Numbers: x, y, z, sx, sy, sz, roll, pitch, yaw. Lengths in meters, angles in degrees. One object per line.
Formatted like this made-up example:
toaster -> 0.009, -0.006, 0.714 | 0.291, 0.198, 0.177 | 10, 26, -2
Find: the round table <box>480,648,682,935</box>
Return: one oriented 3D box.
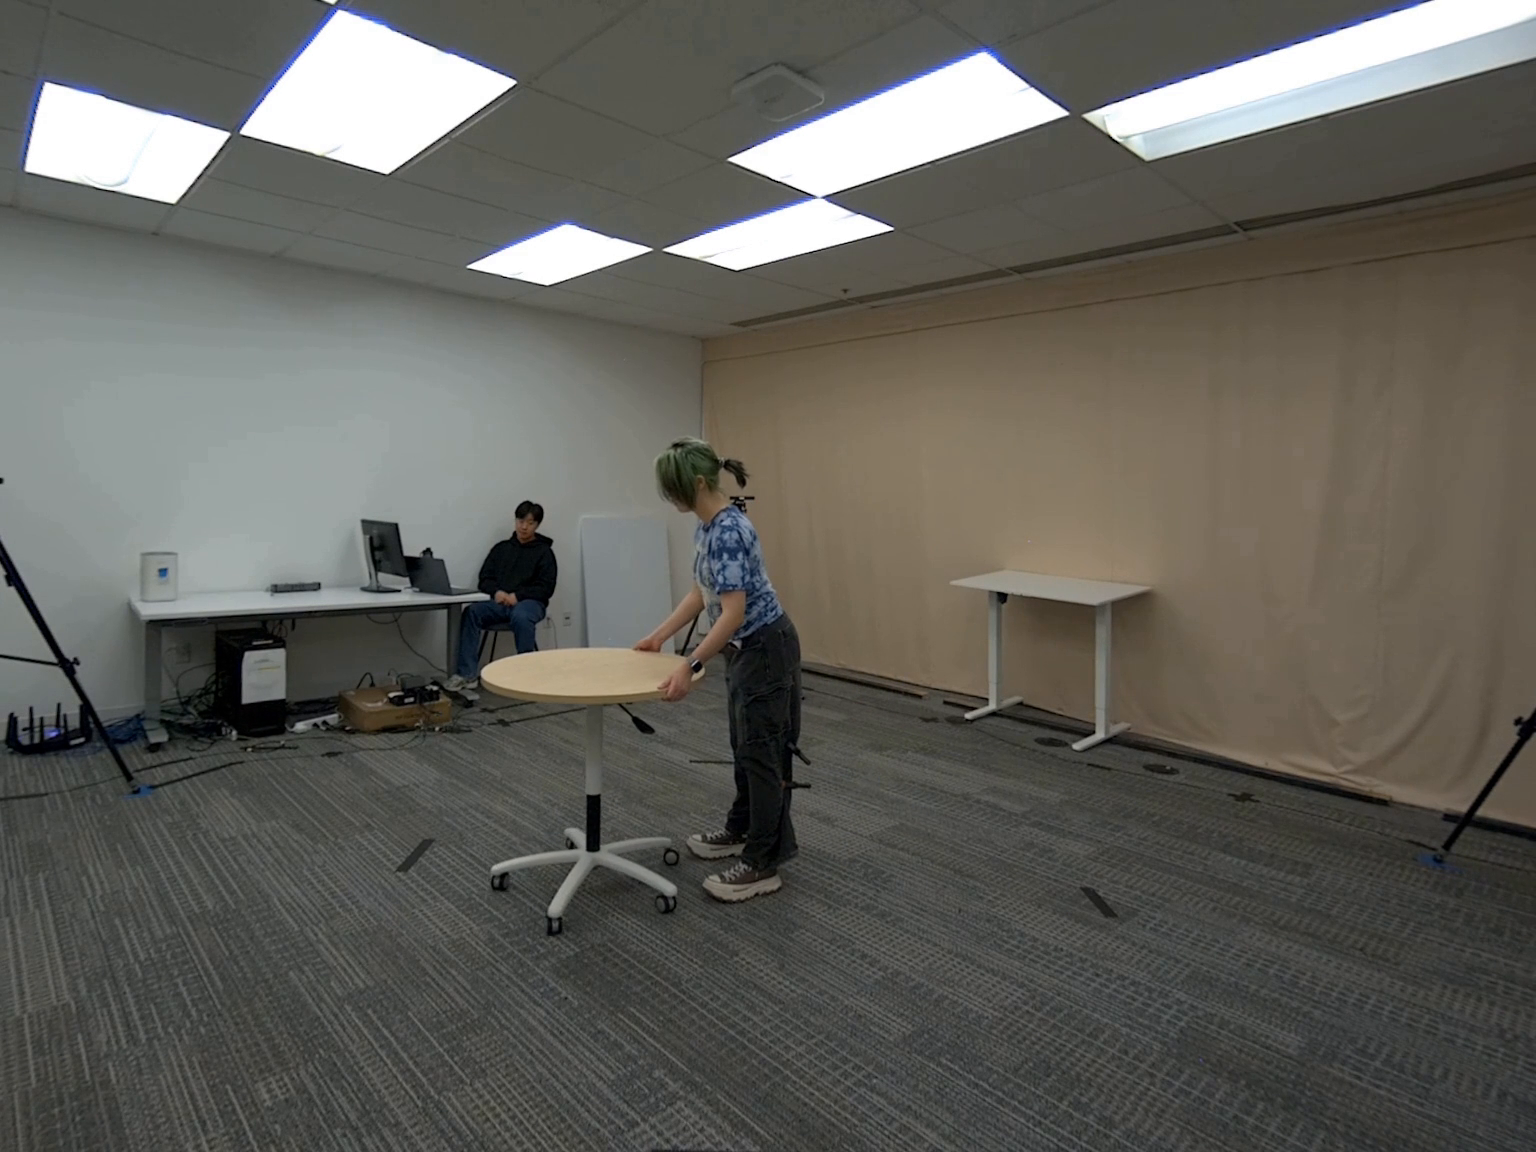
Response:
round table -> -0.609, 0.719, 2.950 | 0.763, 0.792, 0.767 | 1, 4, -1
